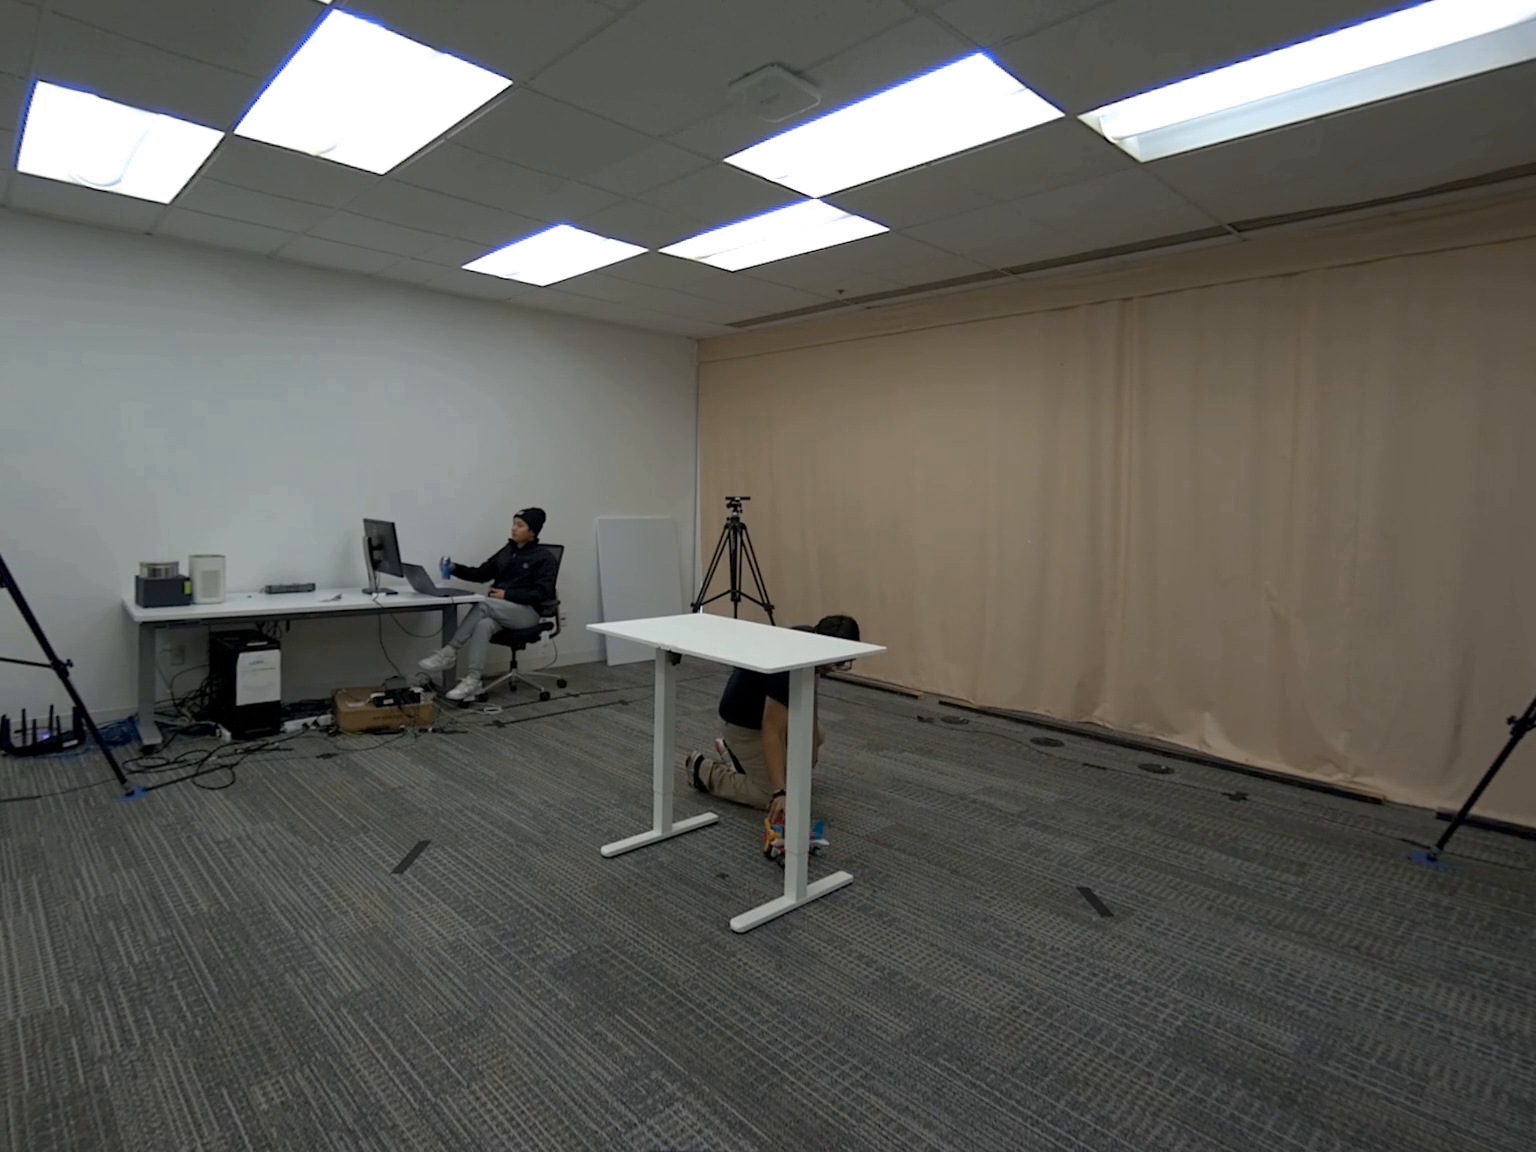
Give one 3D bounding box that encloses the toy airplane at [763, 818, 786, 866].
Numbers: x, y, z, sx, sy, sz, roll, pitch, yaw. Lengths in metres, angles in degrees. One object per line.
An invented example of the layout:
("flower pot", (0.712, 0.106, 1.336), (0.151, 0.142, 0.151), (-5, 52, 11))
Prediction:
("toy airplane", (0.090, 1.027, 3.276), (0.256, 0.156, 0.254), (3, 5, 30))
